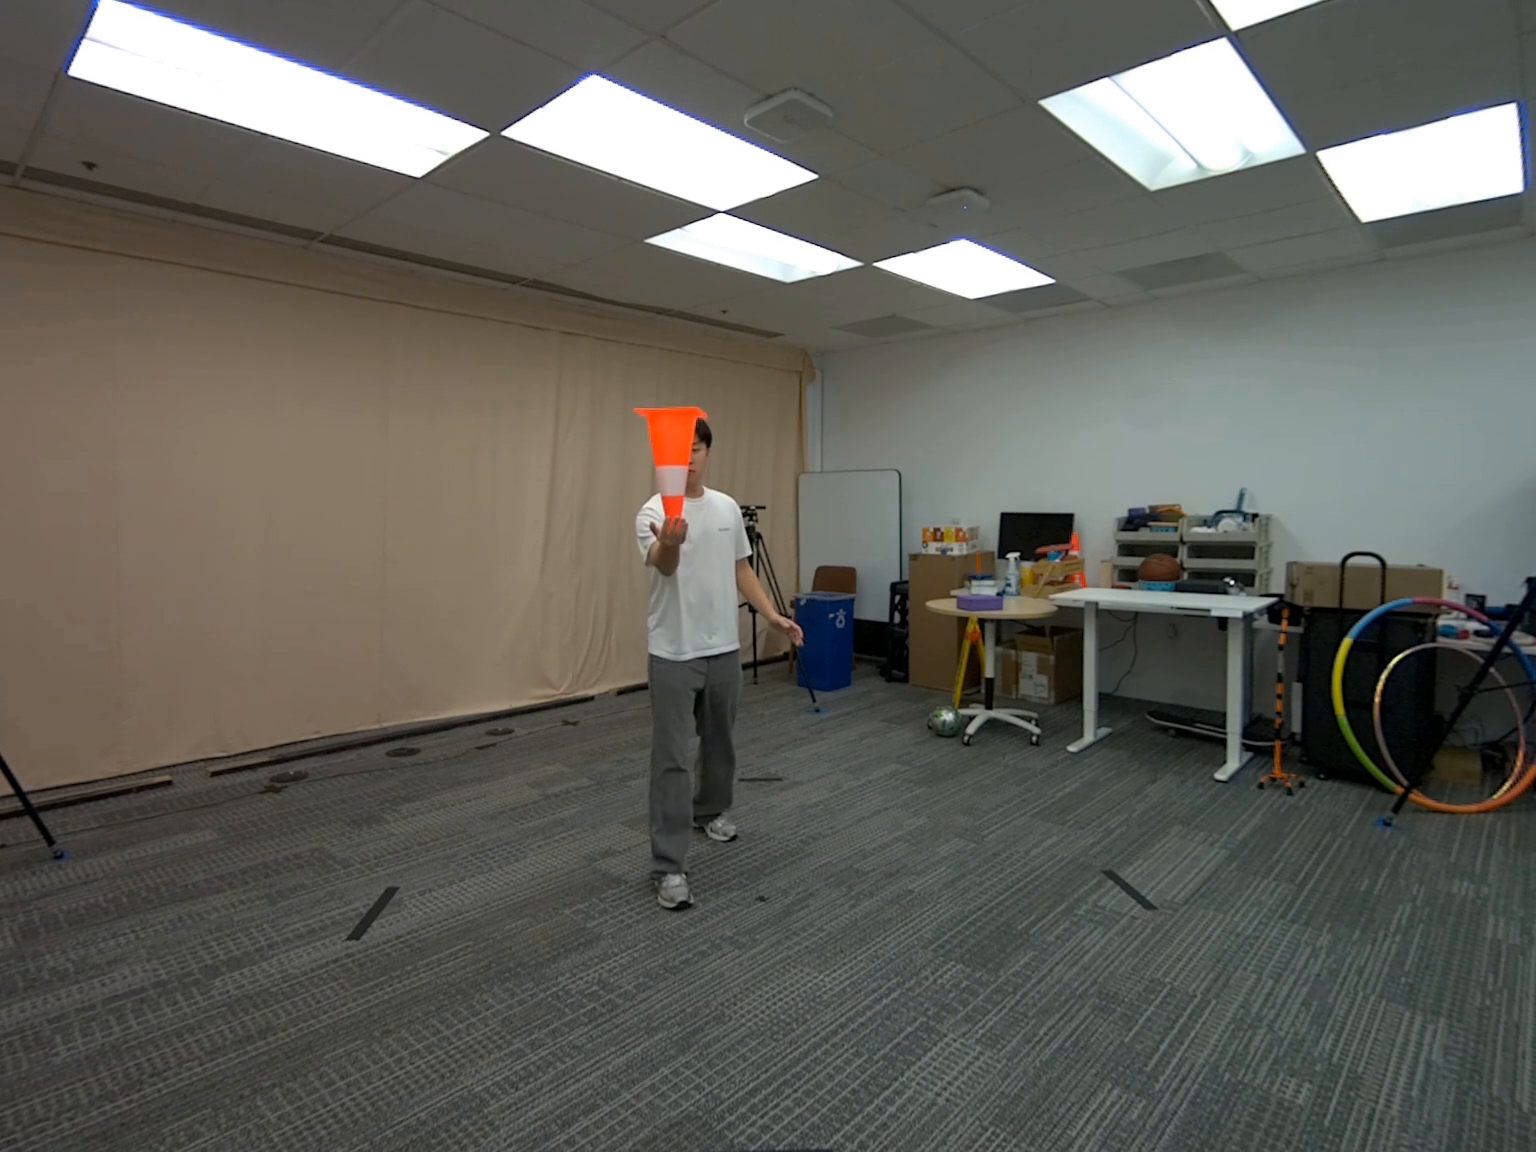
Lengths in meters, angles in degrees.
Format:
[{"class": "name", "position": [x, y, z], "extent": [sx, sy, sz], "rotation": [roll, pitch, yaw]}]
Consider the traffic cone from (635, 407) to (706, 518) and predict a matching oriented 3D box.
[{"class": "traffic cone", "position": [-0.292, -0.306, 2.592], "extent": [0.206, 0.384, 0.202], "rotation": [-1, 0, 12]}]
